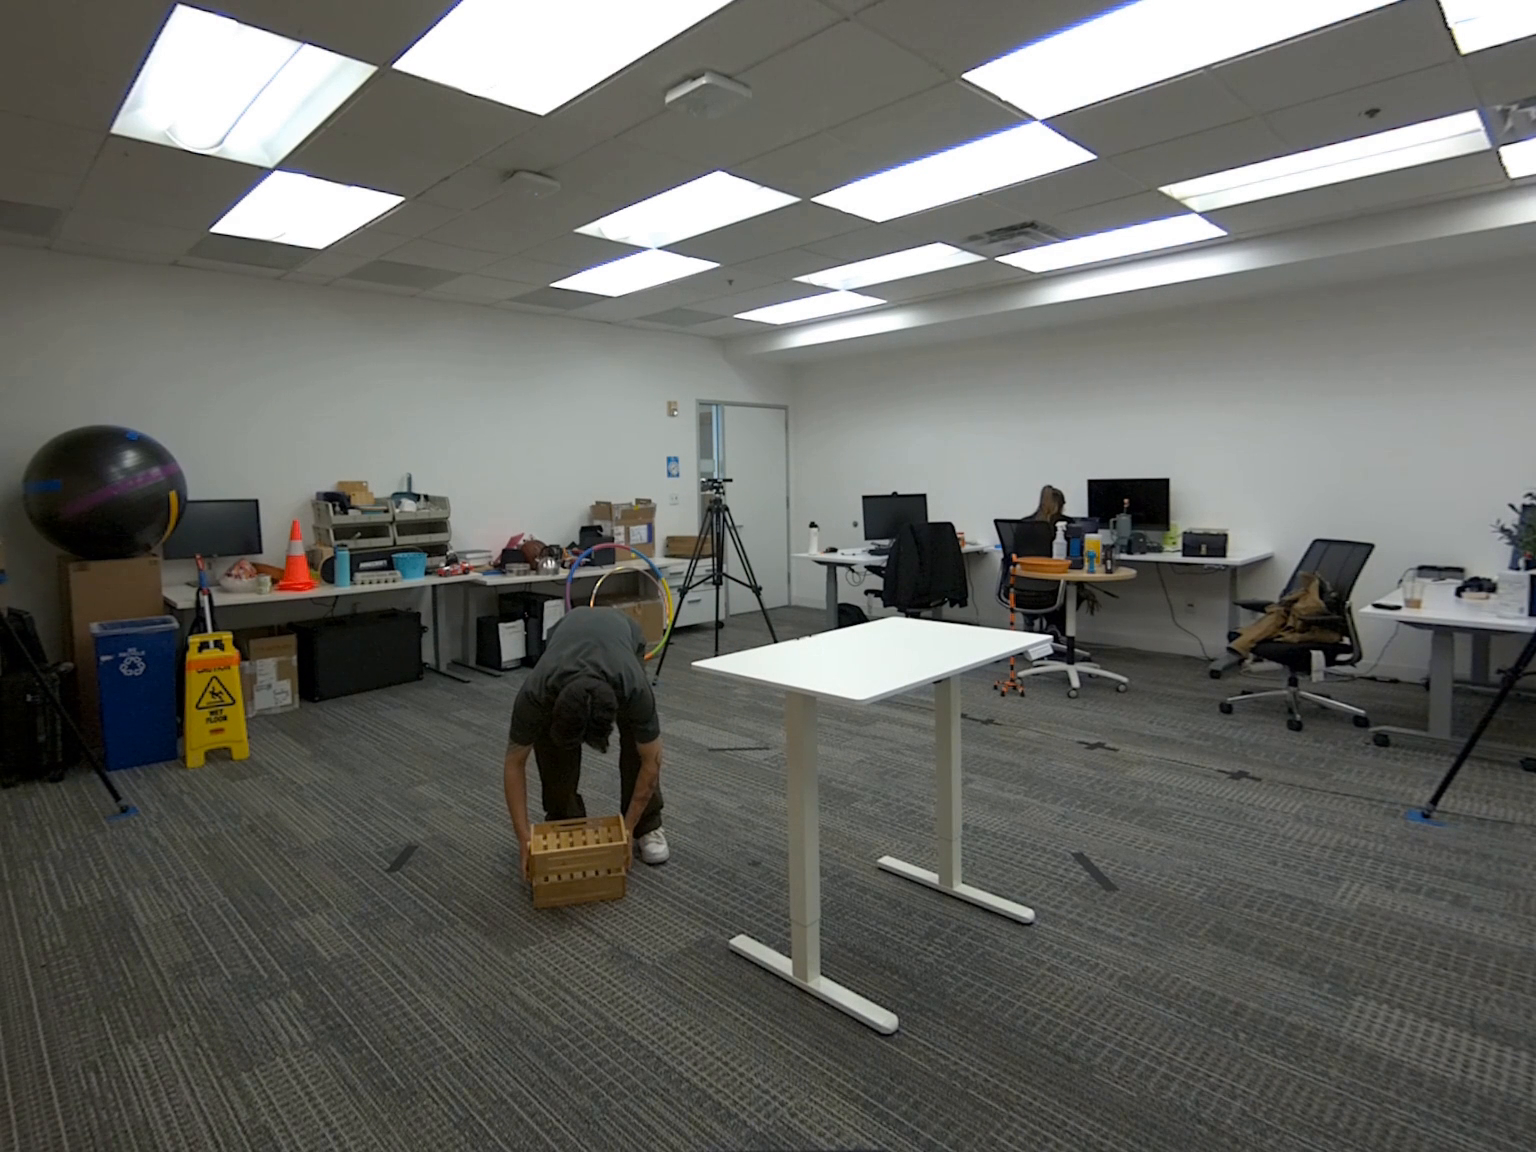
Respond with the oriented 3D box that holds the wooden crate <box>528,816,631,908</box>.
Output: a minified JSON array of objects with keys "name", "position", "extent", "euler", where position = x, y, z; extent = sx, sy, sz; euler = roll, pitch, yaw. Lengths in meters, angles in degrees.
[{"name":"wooden crate","position":[-0.650,0.947,2.870],"extent":[0.319,0.269,0.311],"euler":[0,19,-17]}]
